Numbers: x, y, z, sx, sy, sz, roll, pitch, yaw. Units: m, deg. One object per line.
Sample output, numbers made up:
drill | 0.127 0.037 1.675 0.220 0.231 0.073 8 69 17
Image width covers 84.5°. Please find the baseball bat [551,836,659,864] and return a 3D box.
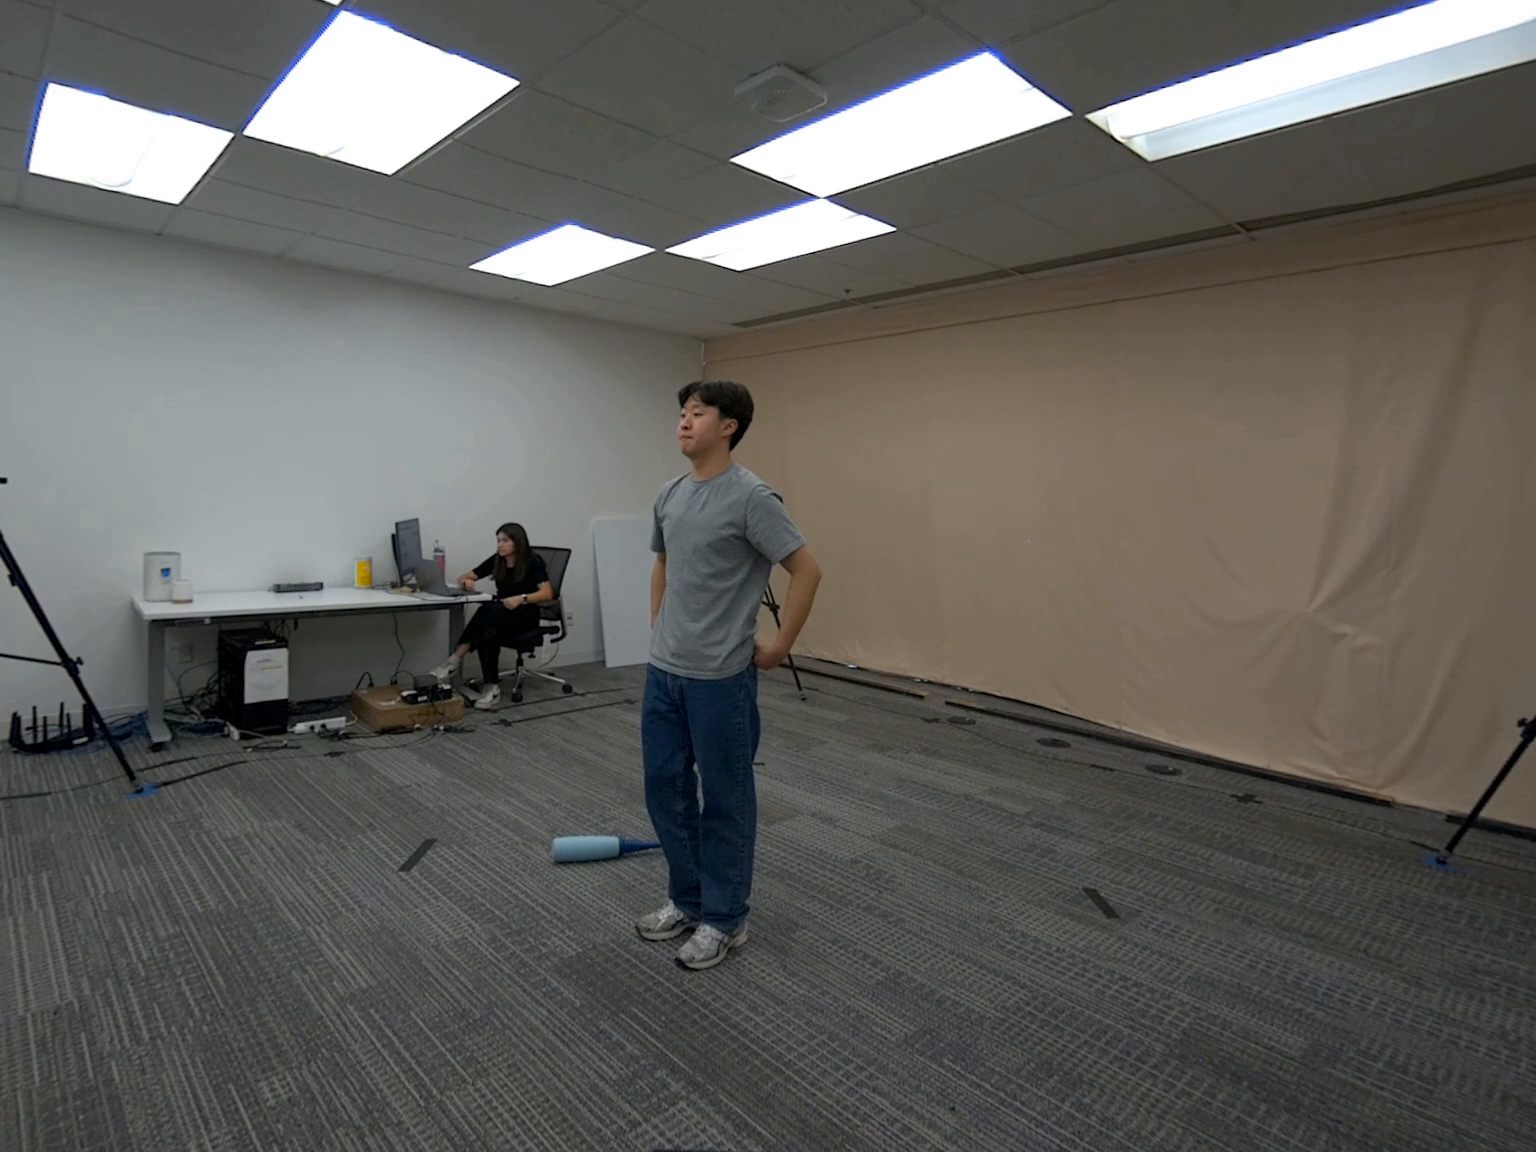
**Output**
baseball bat | -0.568 1.047 3.246 0.536 0.089 0.090 3 4 -15
